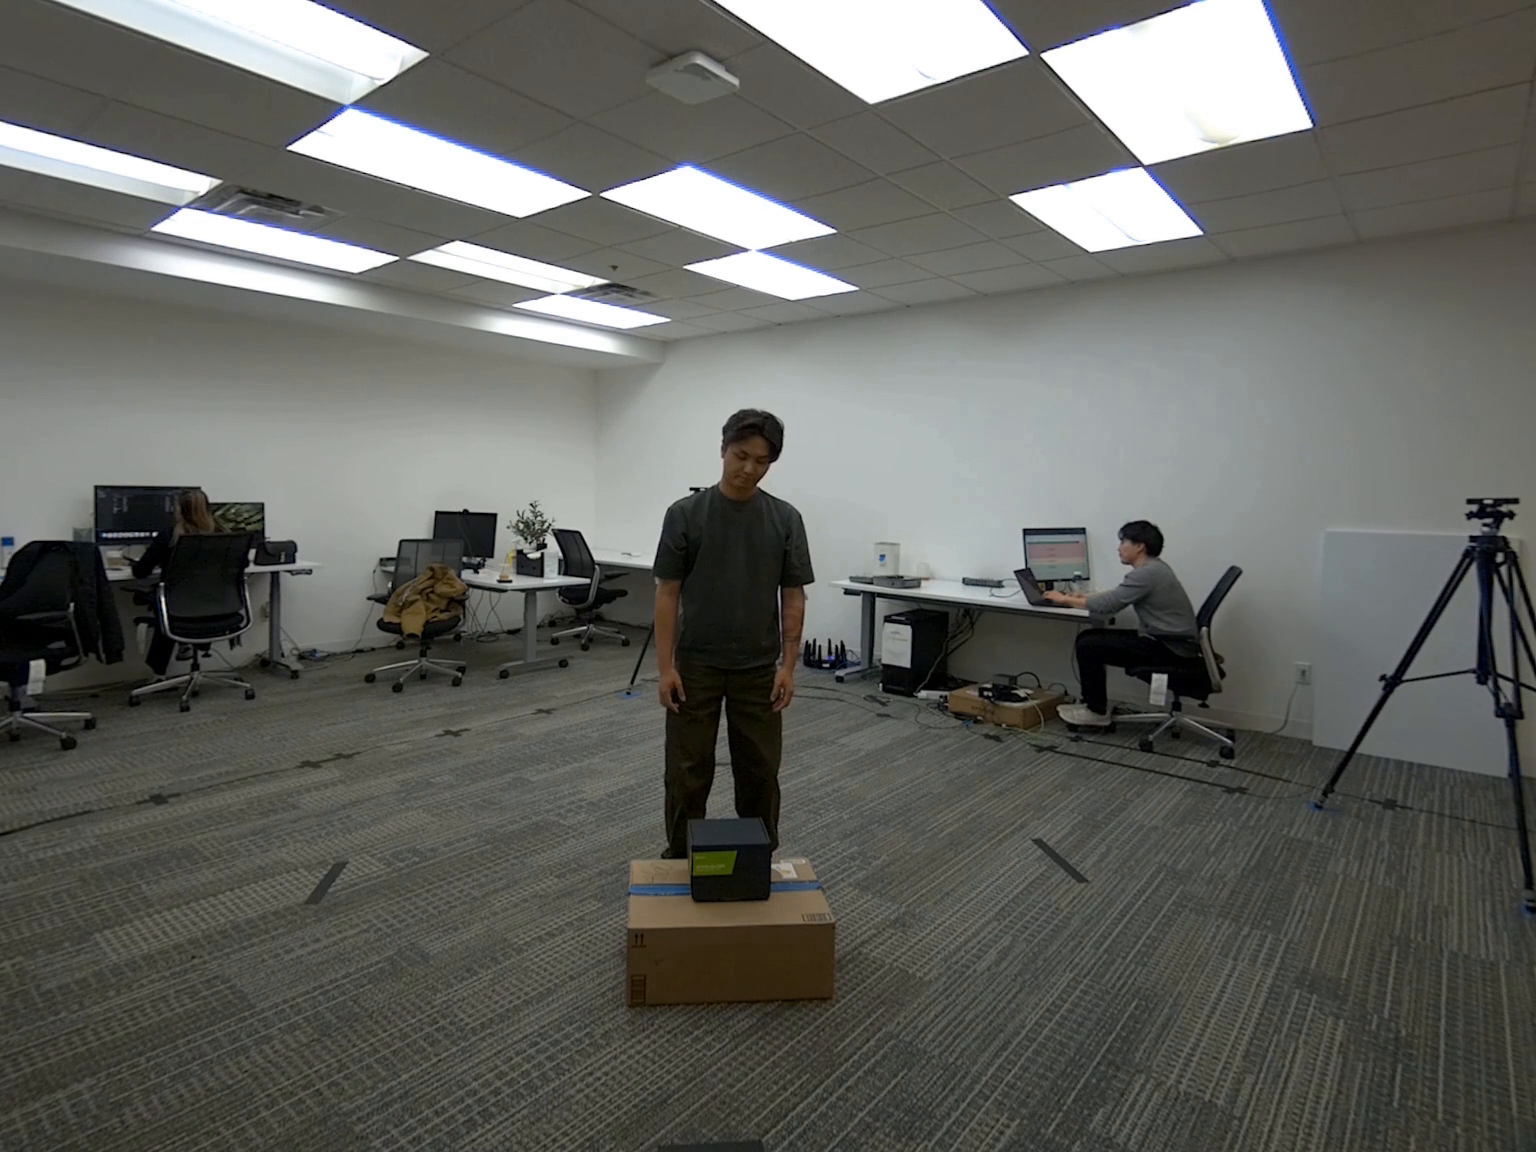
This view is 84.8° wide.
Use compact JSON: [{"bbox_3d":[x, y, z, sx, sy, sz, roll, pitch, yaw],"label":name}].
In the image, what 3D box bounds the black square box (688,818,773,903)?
[{"bbox_3d":[-0.125,0.828,2.511,0.226,0.155,0.219,1,3,-6],"label":"black square box"}]
